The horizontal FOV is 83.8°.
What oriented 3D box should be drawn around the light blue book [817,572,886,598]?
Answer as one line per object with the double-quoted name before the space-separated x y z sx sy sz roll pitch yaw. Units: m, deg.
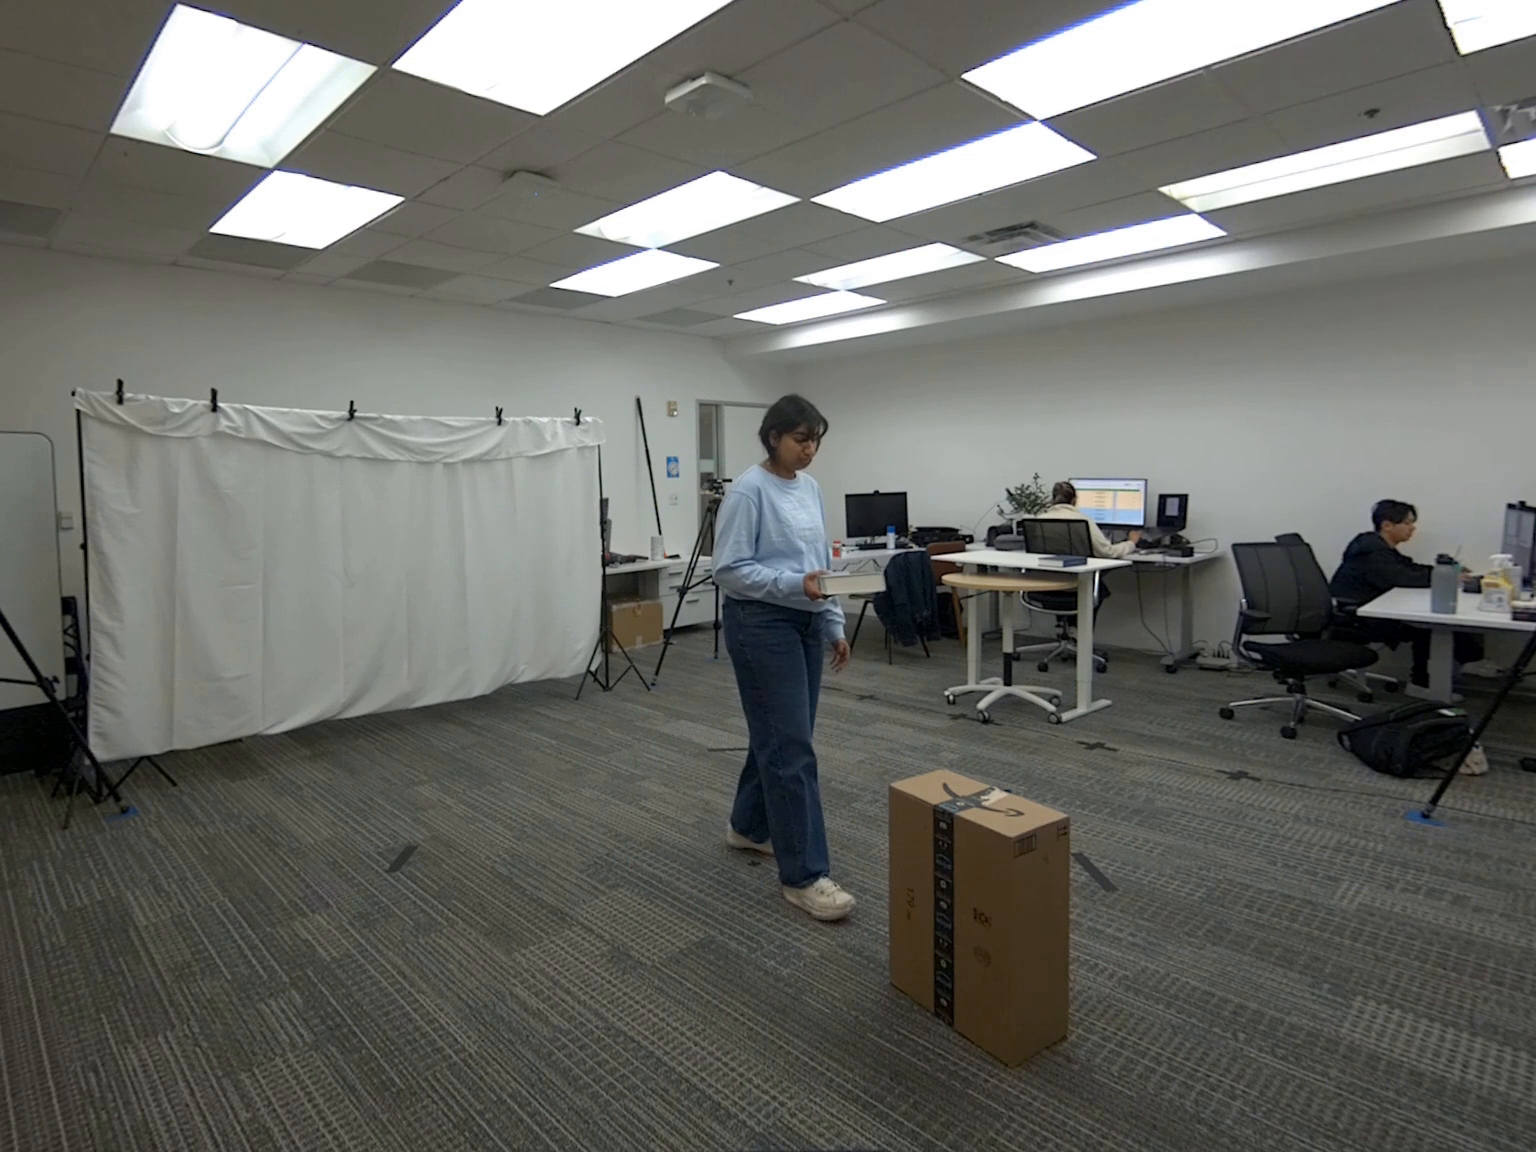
"light blue book" 0.251 0.021 2.735 0.191 0.059 0.261 -4 0 -4
